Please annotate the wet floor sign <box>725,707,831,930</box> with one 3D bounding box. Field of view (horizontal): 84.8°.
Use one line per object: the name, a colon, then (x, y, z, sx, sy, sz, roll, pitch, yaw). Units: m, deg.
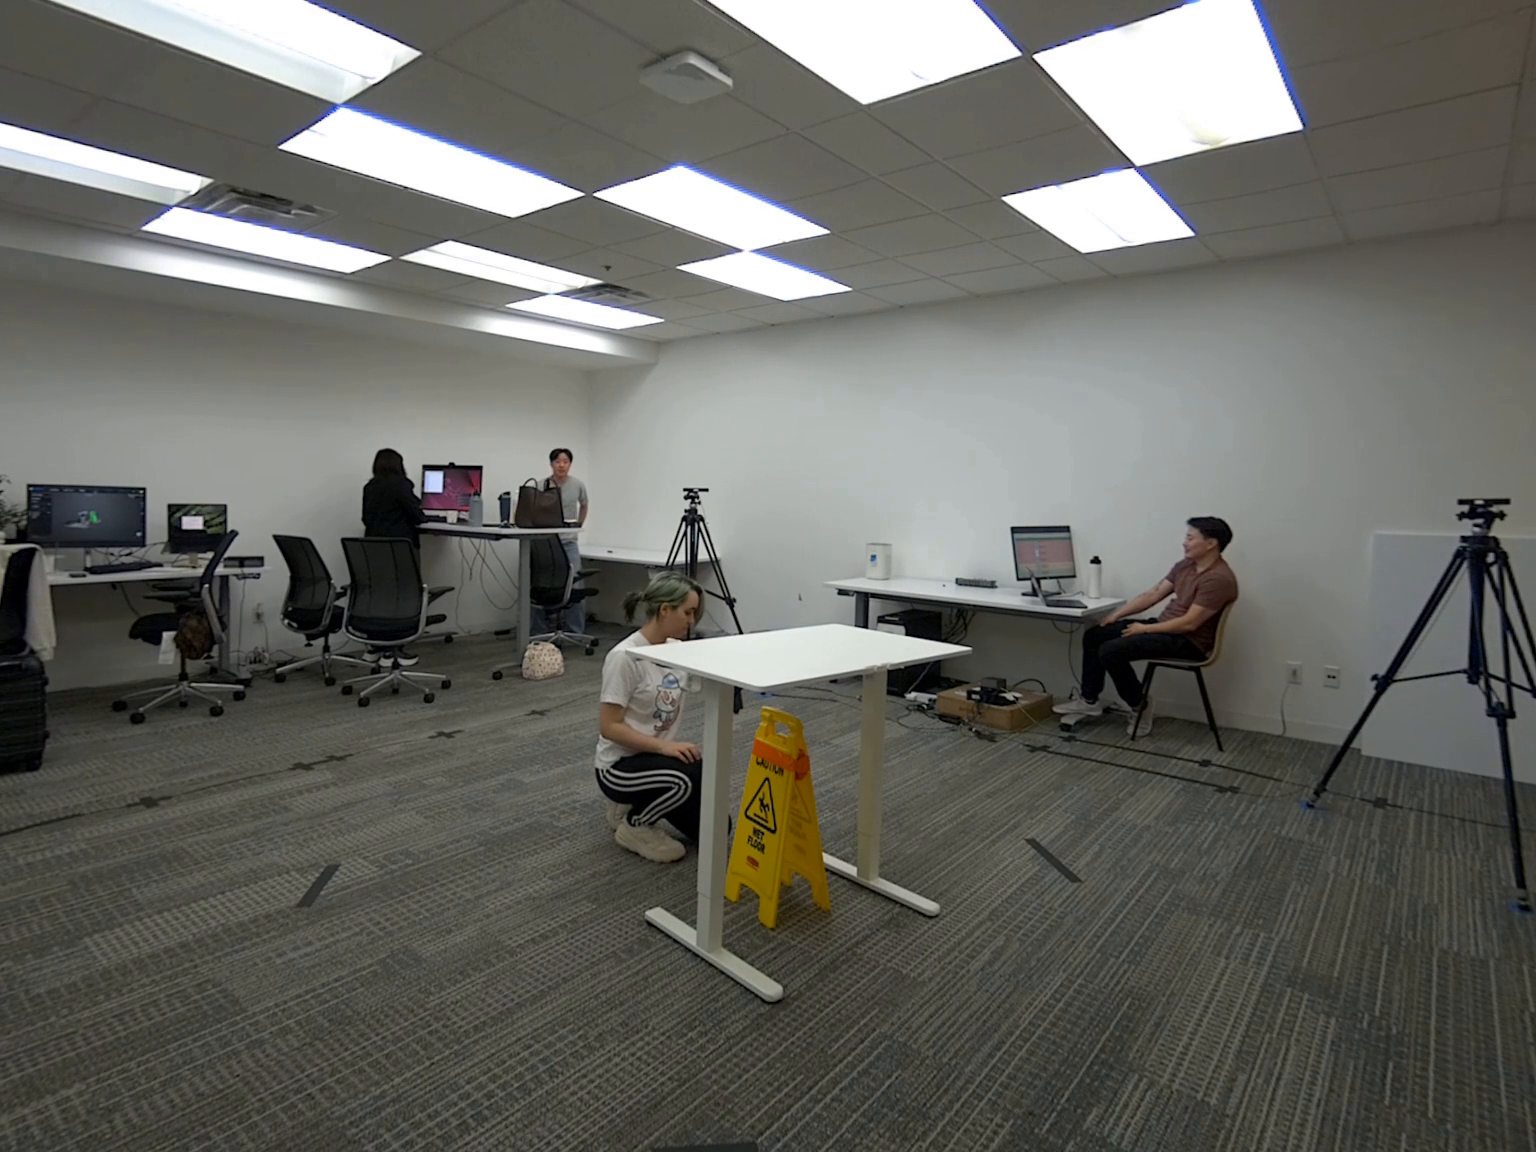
wet floor sign: (0.027, 0.772, 2.849, 0.281, 0.644, 0.291, -1, 3, -34)
